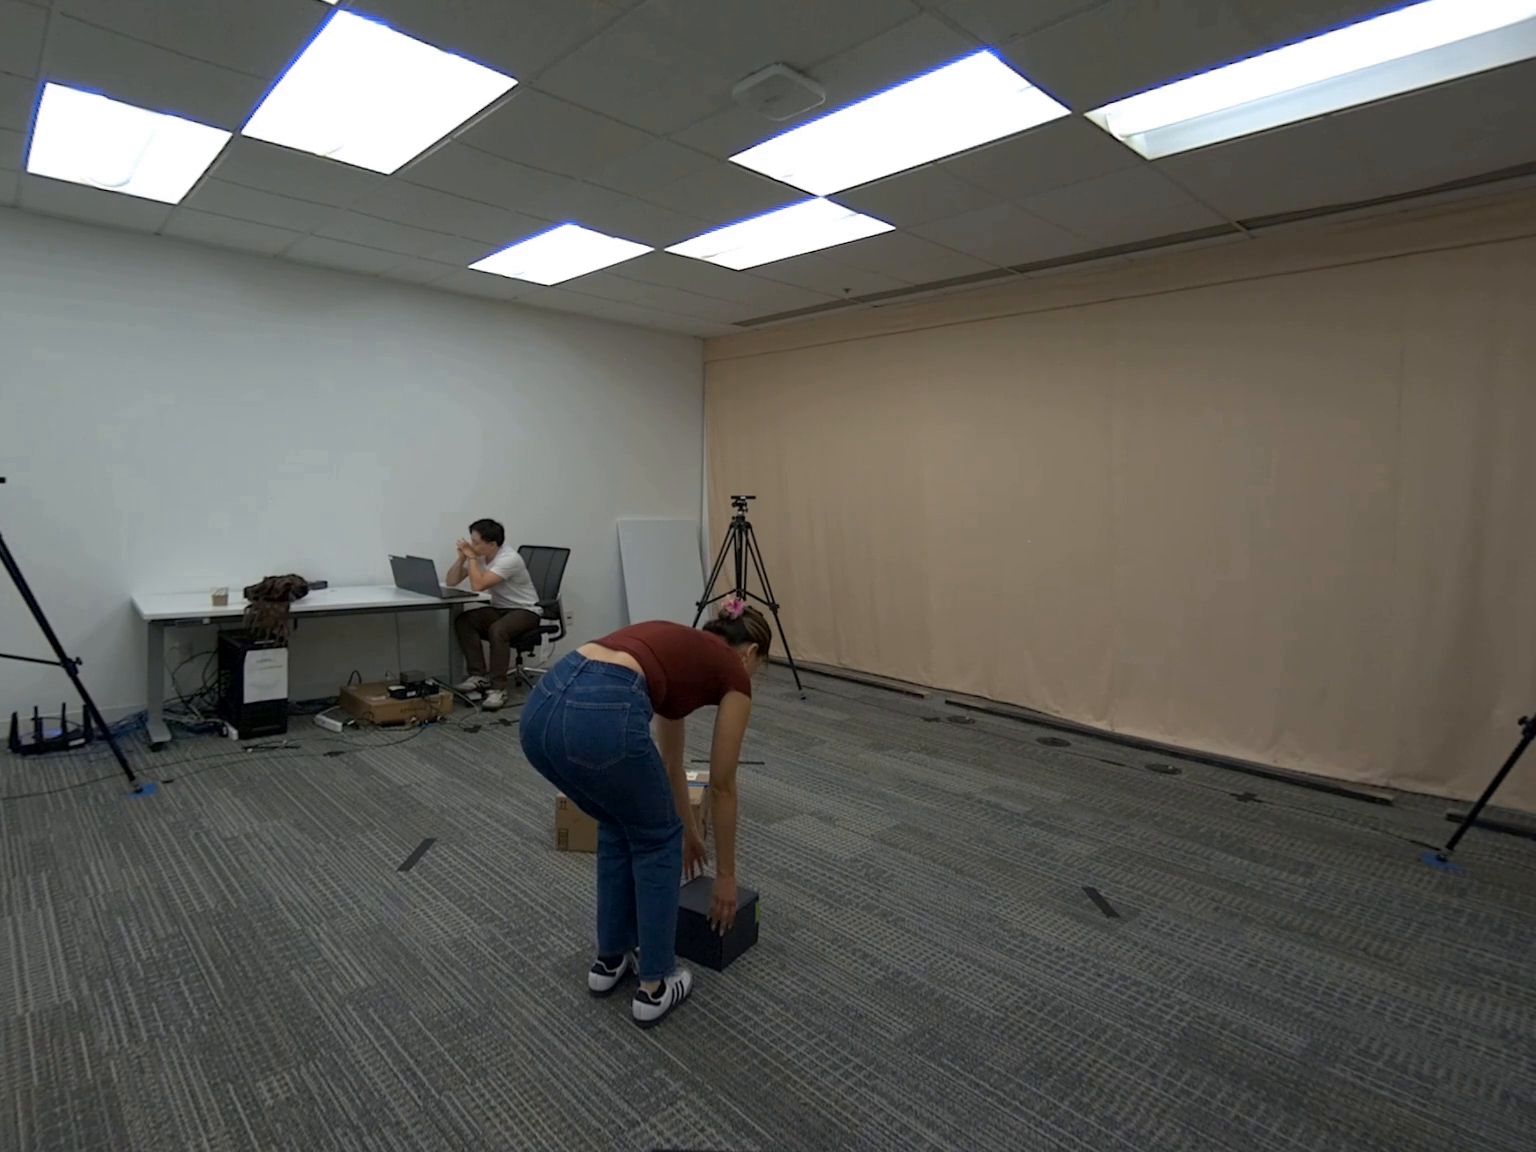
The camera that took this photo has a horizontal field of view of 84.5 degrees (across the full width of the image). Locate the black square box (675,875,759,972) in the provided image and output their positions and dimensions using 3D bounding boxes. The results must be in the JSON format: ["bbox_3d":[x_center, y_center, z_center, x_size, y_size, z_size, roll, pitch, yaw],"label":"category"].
[{"bbox_3d":[-0.183,1.065,2.602,0.233,0.155,0.213,4,5,32],"label":"black square box"}]
